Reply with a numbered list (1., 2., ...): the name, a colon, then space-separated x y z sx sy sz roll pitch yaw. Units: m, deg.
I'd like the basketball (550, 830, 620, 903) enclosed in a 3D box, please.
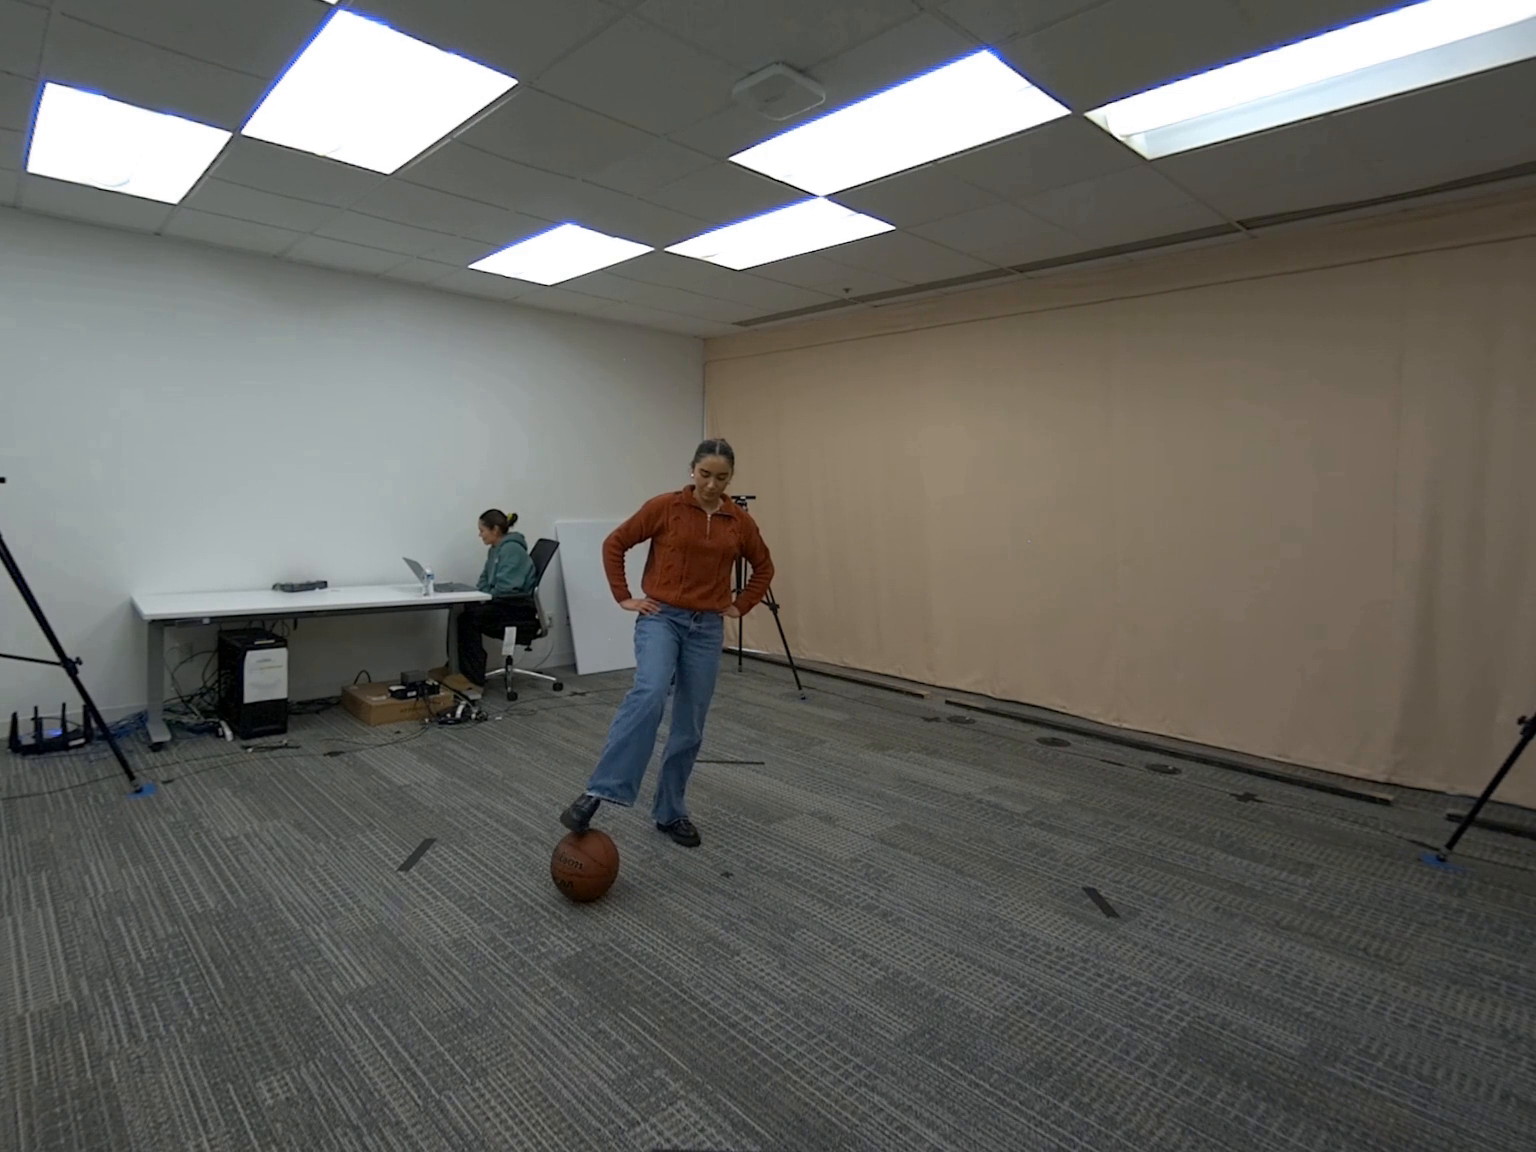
1. basketball: -0.634 0.994 2.904 0.236 0.235 0.237 1 4 -1
